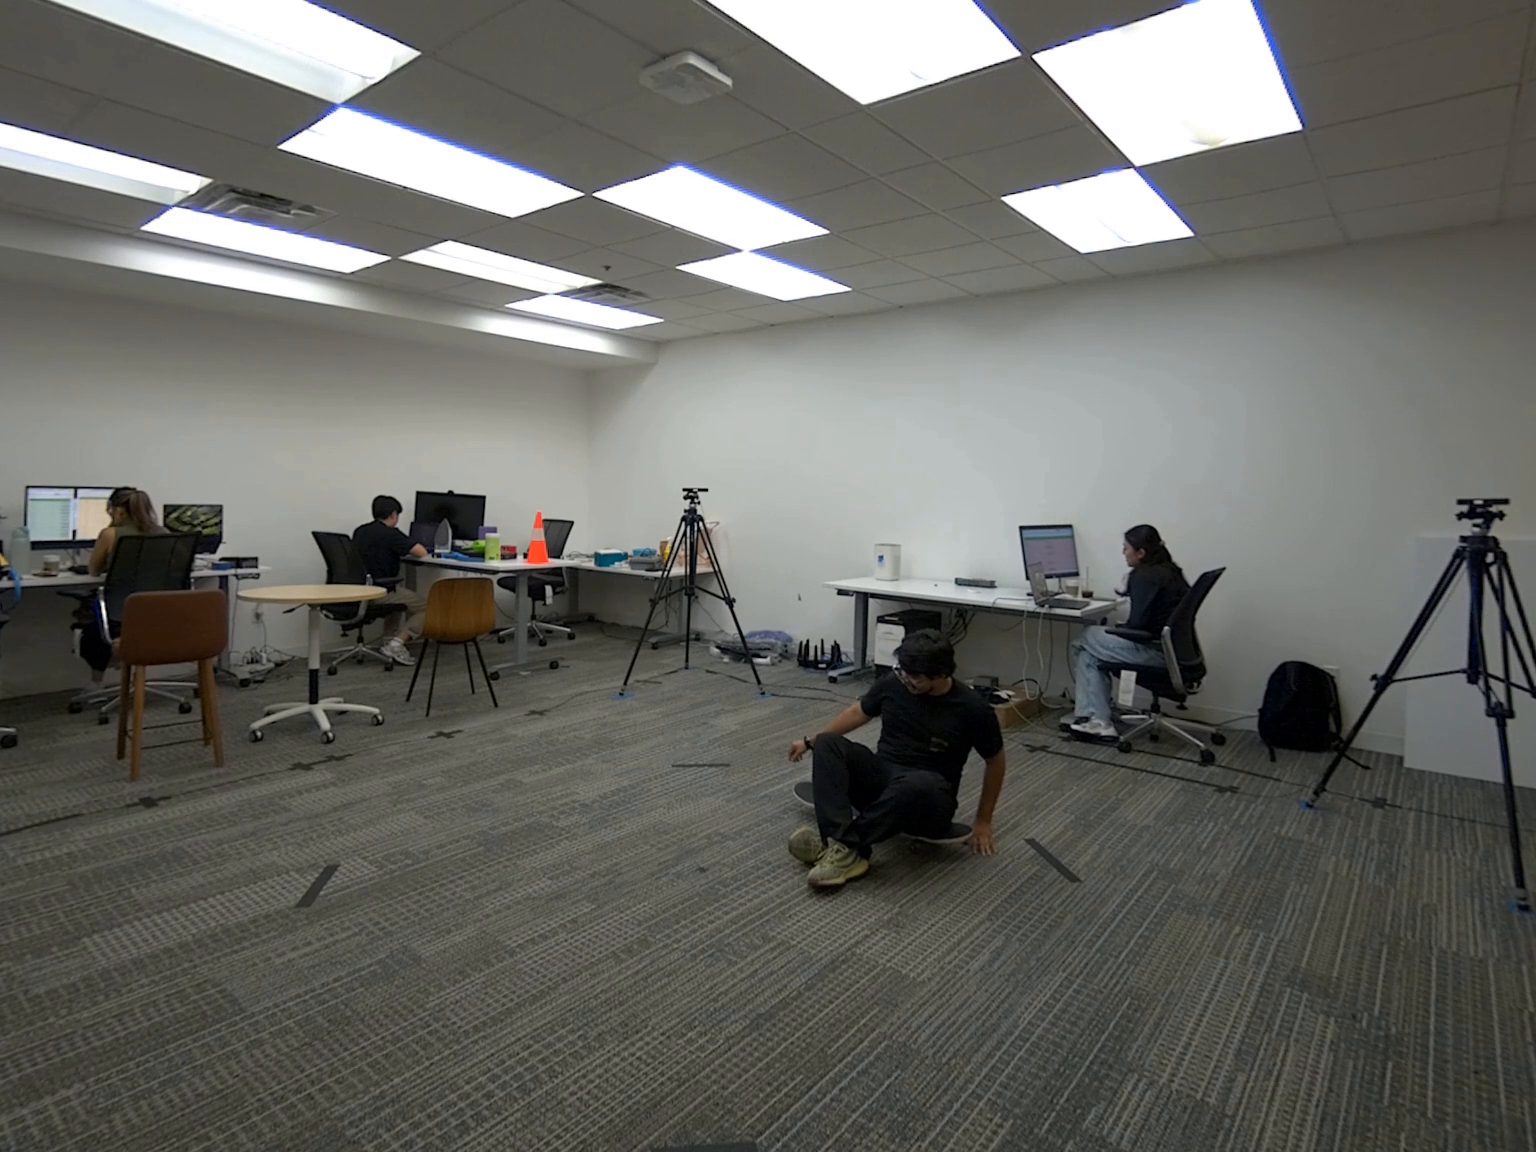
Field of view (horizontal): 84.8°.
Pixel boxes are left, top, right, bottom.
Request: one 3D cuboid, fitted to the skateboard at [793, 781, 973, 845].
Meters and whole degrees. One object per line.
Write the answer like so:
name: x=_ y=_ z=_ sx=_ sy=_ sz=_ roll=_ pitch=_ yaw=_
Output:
skateboard: x=0.432 y=0.984 z=3.474 sx=0.812 sy=0.110 sz=0.188 roll=6 pitch=10 yaw=40
